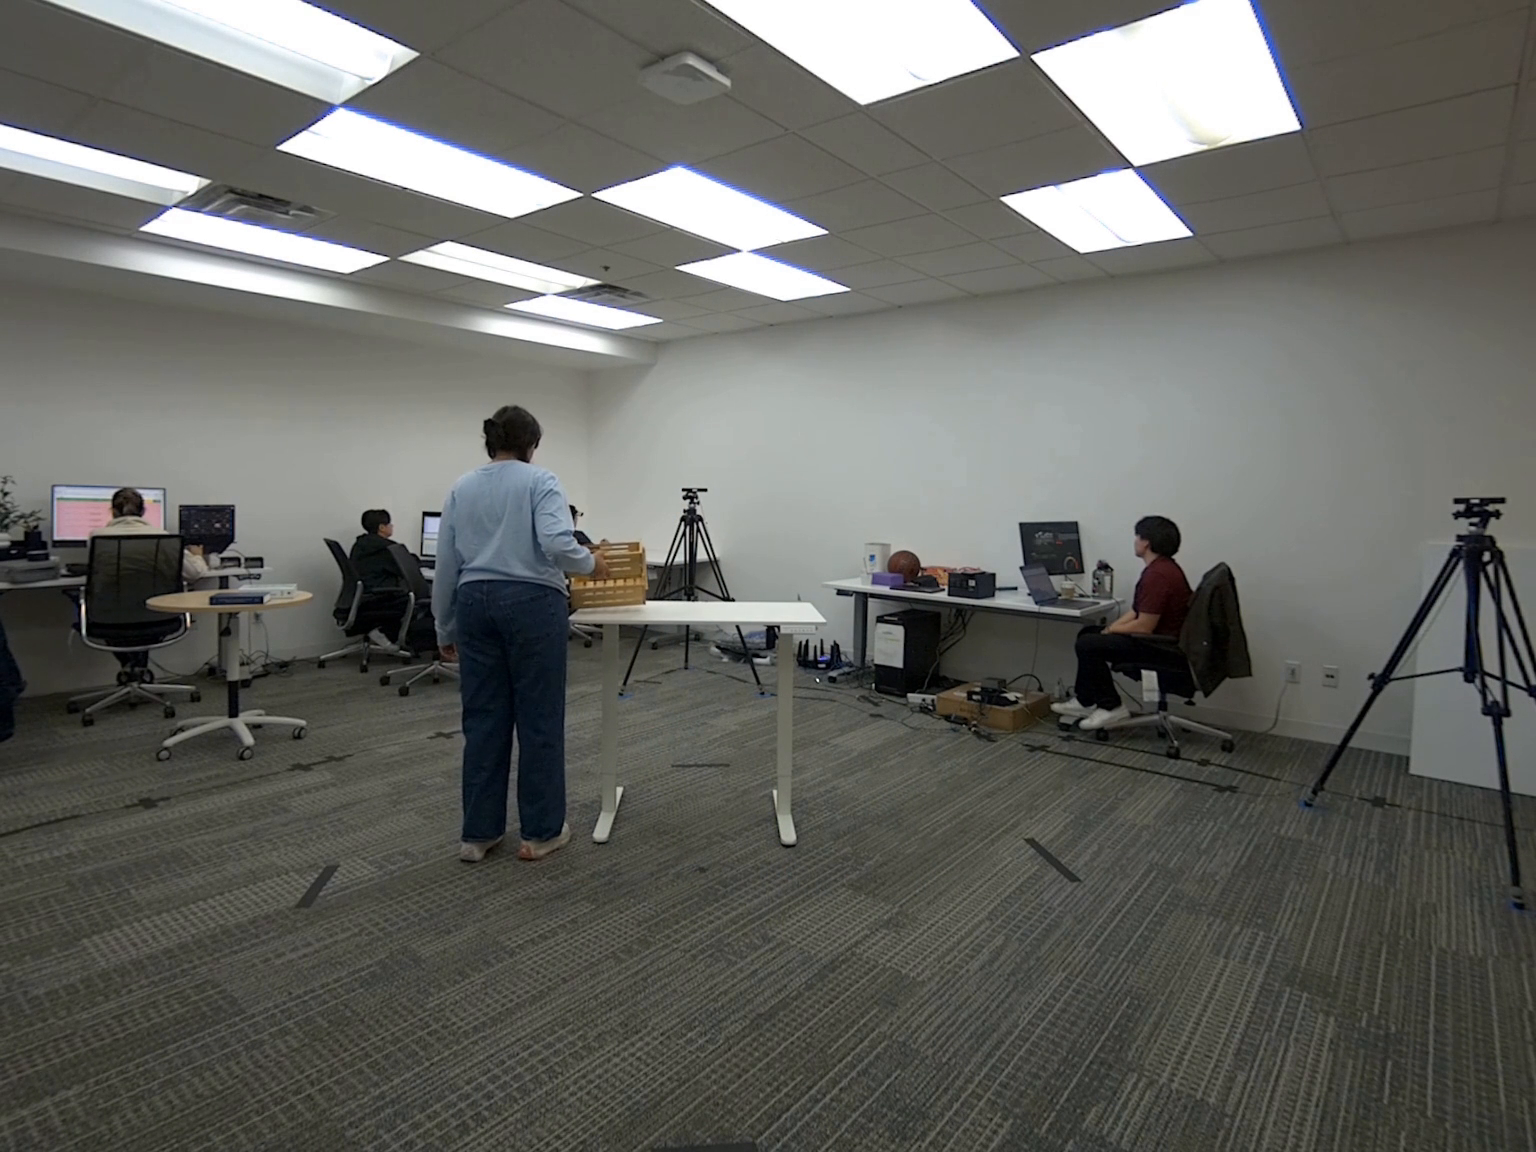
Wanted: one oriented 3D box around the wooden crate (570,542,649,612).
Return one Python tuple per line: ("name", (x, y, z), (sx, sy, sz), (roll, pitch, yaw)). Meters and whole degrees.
("wooden crate", (-0.684, -0.036, 3.531), (0.323, 0.267, 0.310), (-4, 25, -6))
